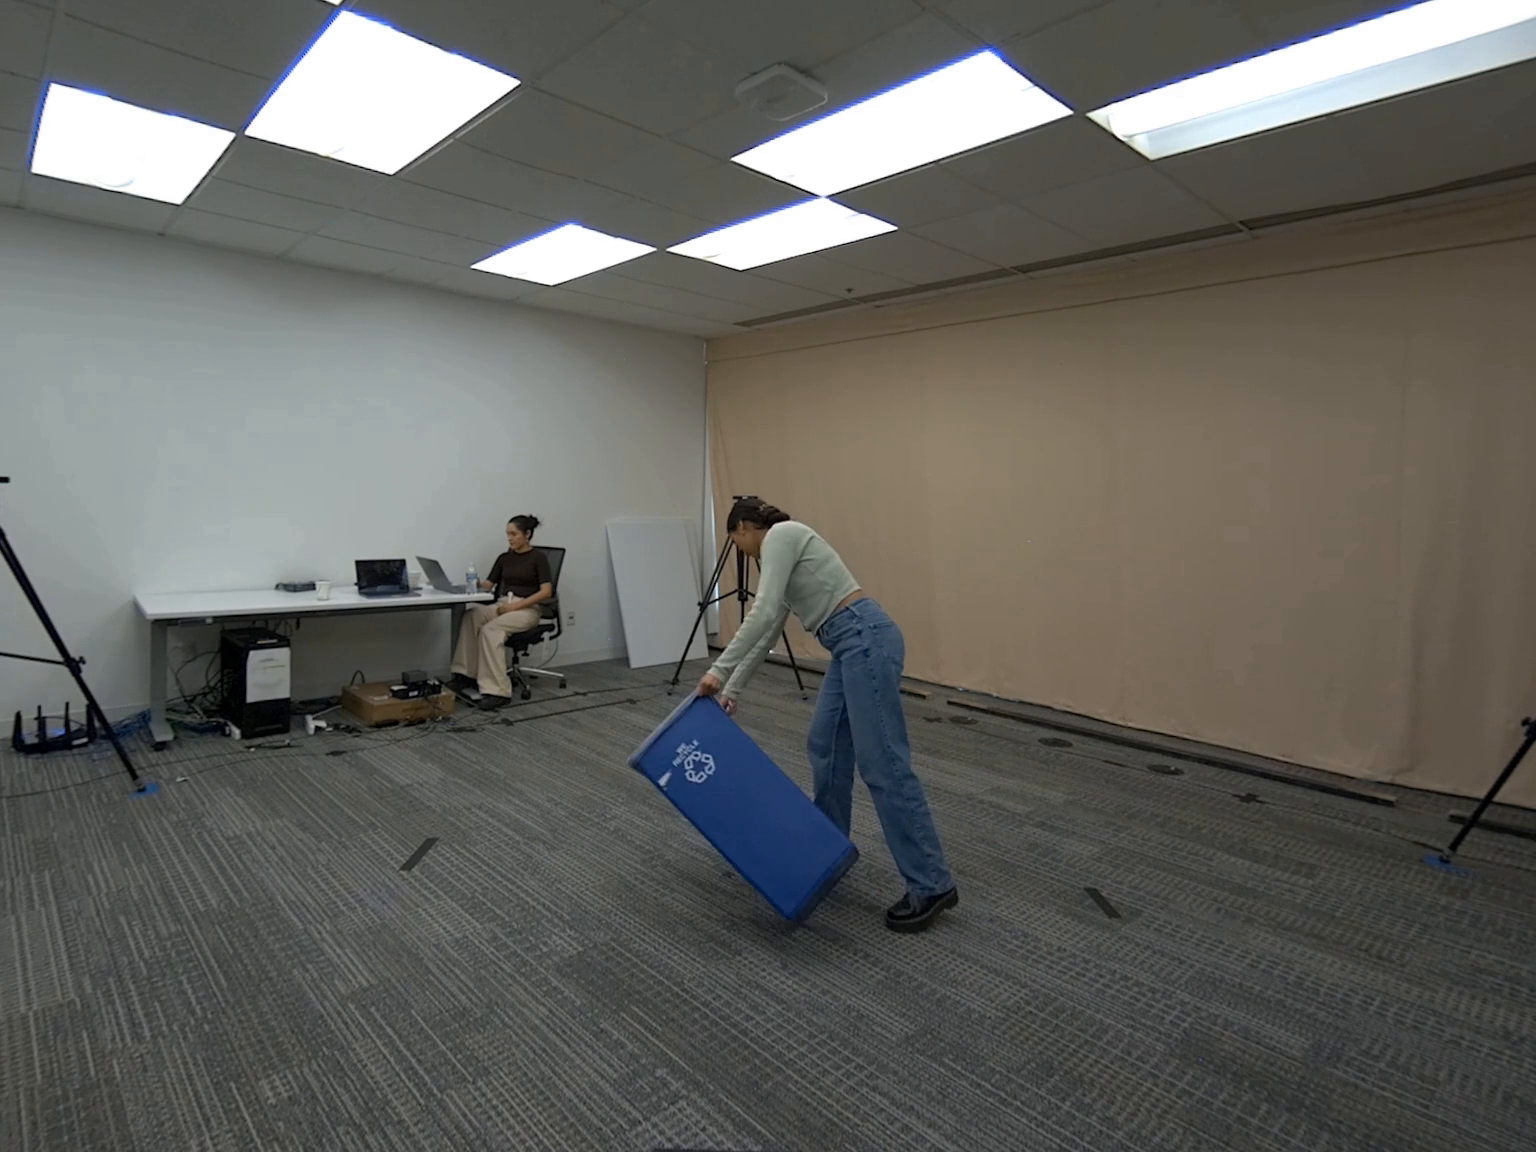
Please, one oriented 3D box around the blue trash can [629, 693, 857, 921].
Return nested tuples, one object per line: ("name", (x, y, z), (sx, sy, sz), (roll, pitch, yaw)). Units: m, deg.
("blue trash can", (-0.064, 0.765, 2.821), (0.732, 0.374, 0.369), (39, -14, 25))
